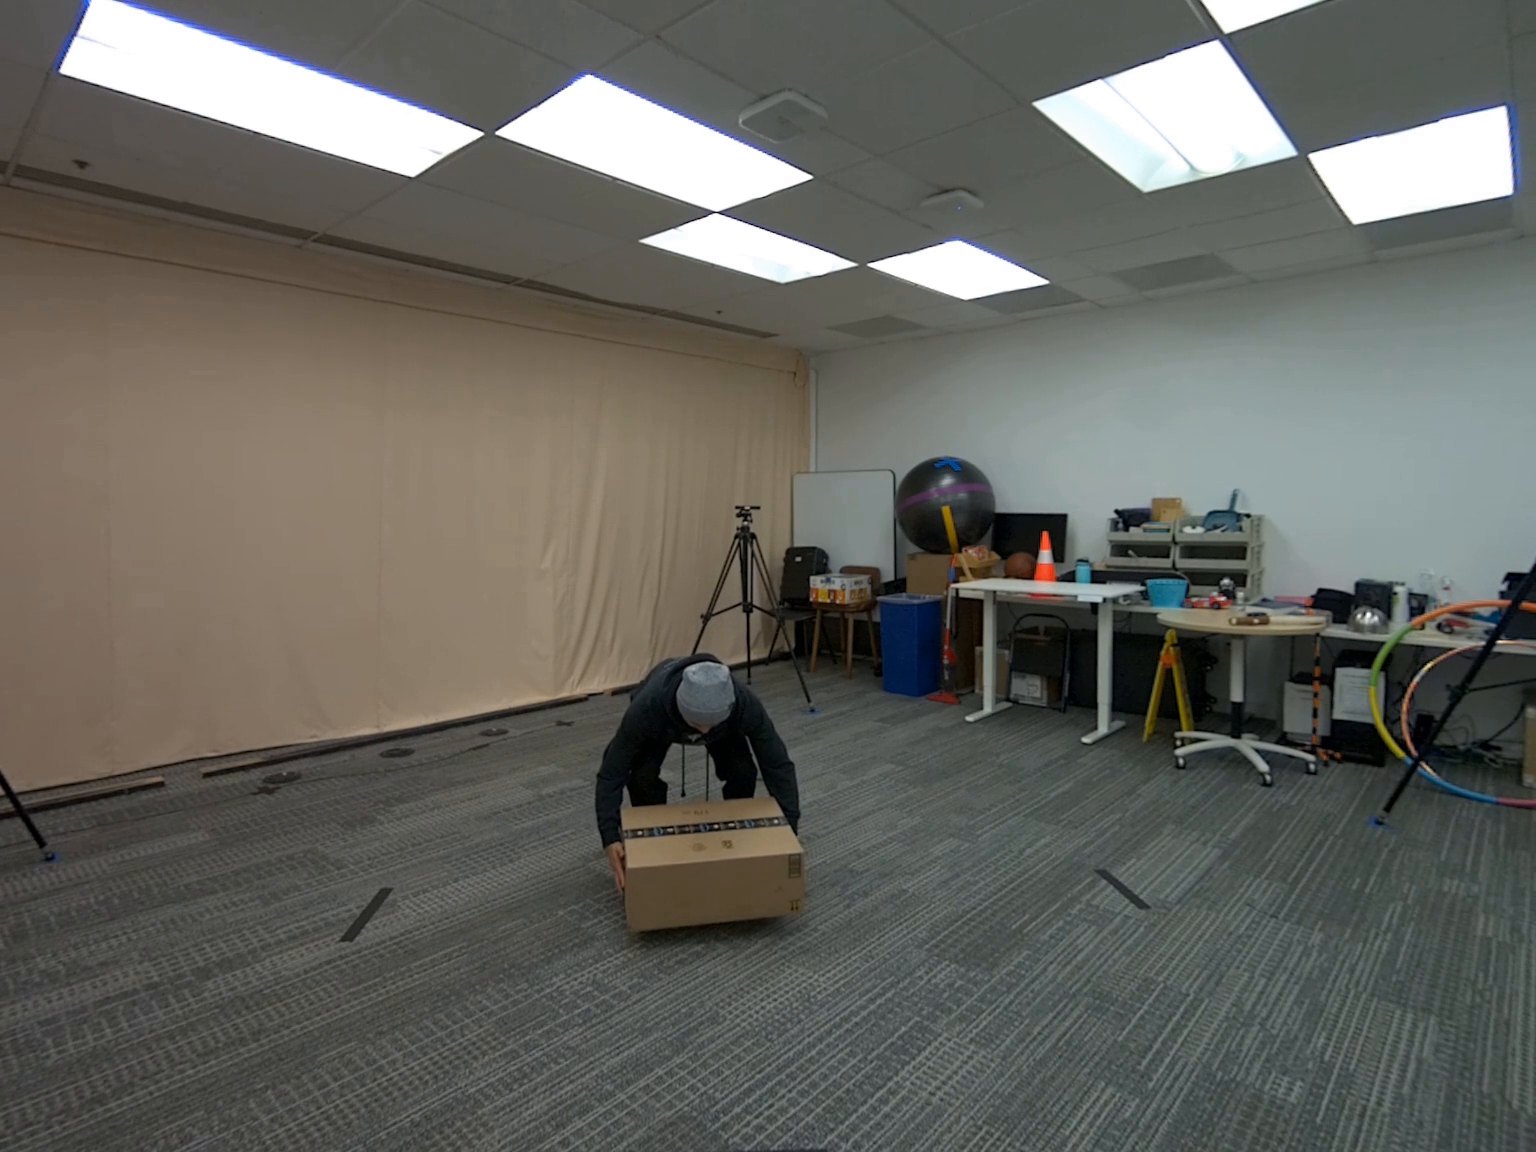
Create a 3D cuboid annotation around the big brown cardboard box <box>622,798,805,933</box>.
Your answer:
[{"bbox_3d":[-0.205,0.960,2.838,0.584,0.232,0.424,-4,10,-9],"label":"big brown cardboard box"}]
